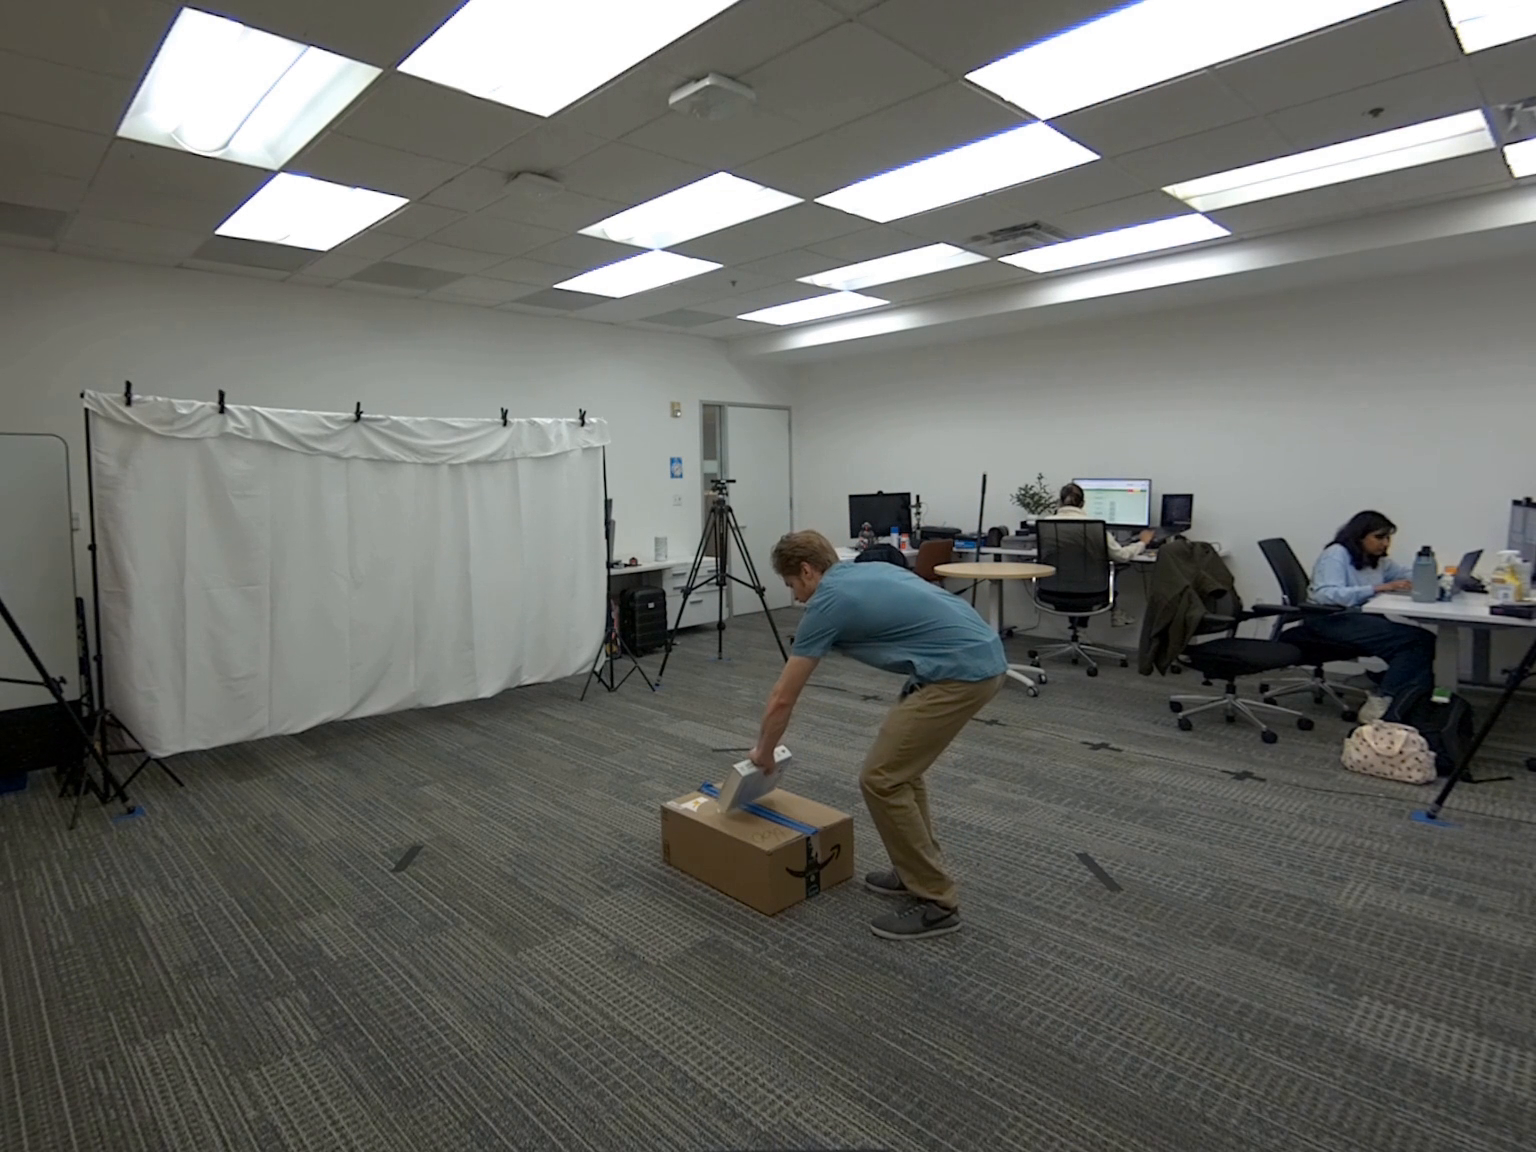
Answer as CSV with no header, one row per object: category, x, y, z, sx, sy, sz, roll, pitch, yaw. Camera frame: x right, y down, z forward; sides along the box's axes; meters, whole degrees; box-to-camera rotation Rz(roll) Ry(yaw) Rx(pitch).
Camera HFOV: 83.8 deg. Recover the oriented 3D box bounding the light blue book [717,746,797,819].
light blue book,-0.040,0.729,3.047,0.255,0.189,0.061,-12,45,-47
